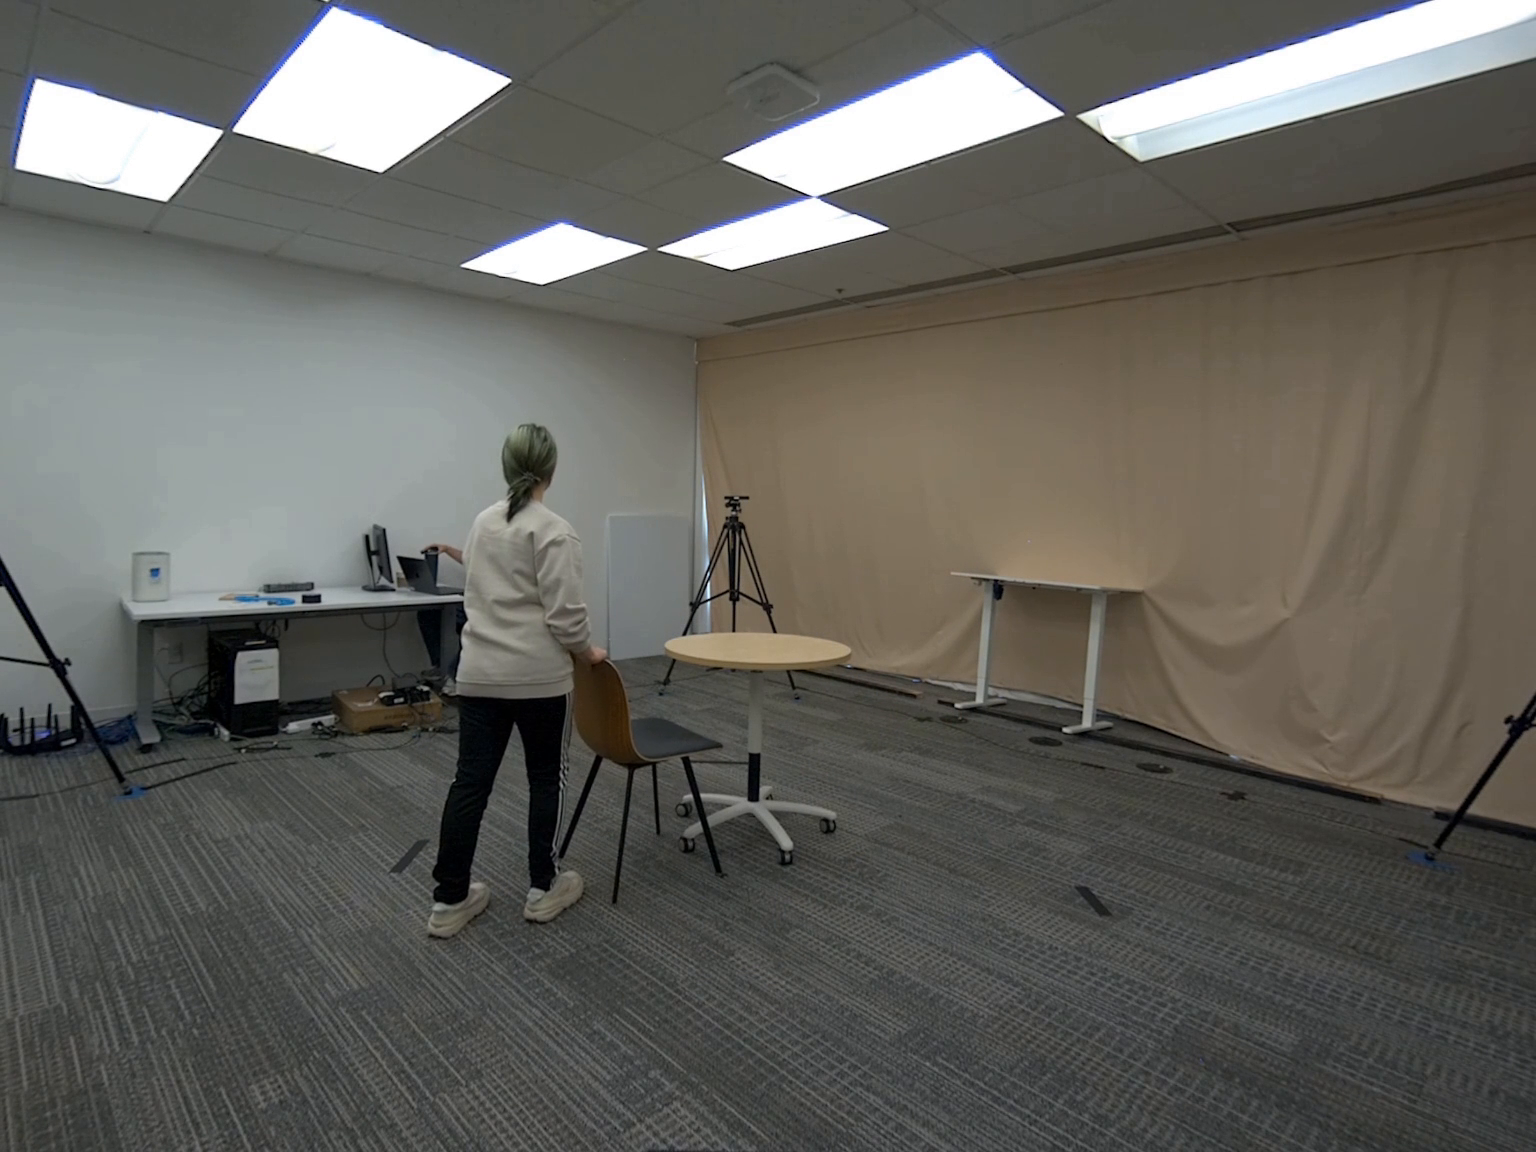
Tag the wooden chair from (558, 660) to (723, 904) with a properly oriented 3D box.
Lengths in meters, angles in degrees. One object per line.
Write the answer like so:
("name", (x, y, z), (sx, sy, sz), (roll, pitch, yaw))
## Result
("wooden chair", (-0.474, 0.666, 3.145), (0.512, 0.874, 0.490), (-6, 7, -37))
